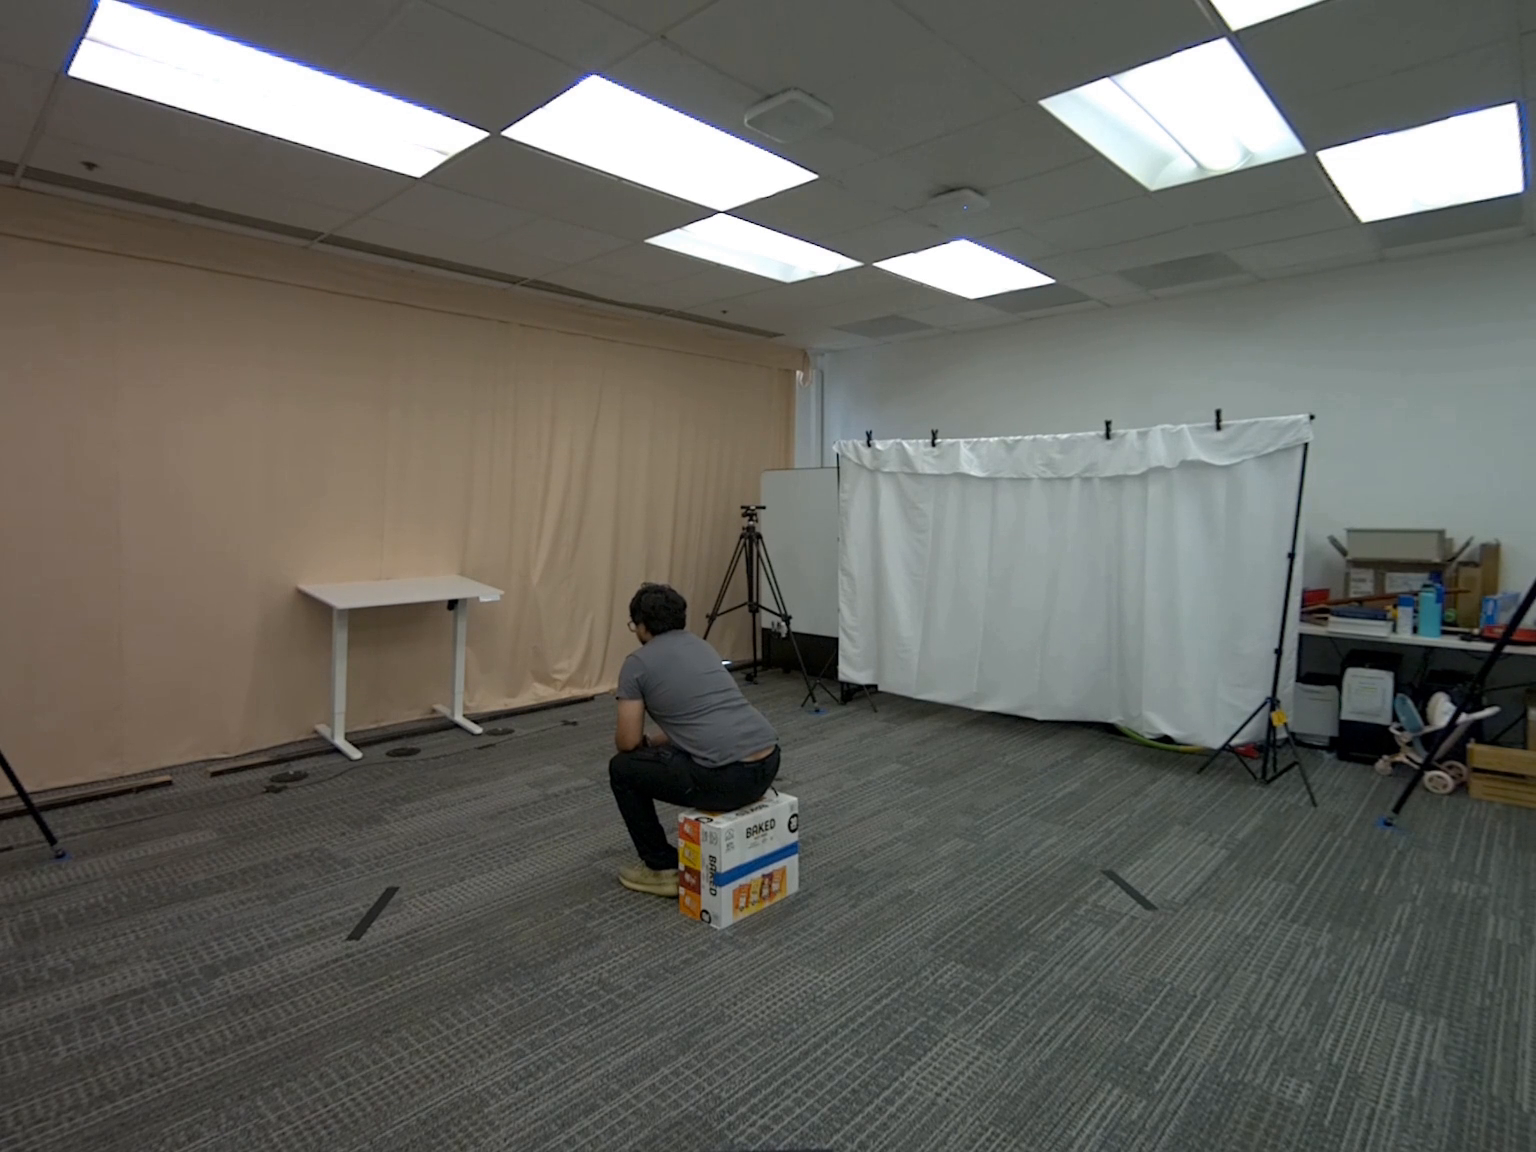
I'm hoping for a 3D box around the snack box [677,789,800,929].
[{"bbox_3d":[-0.093,0.978,2.963,0.212,0.340,0.393,2,4,43],"label":"snack box"}]
